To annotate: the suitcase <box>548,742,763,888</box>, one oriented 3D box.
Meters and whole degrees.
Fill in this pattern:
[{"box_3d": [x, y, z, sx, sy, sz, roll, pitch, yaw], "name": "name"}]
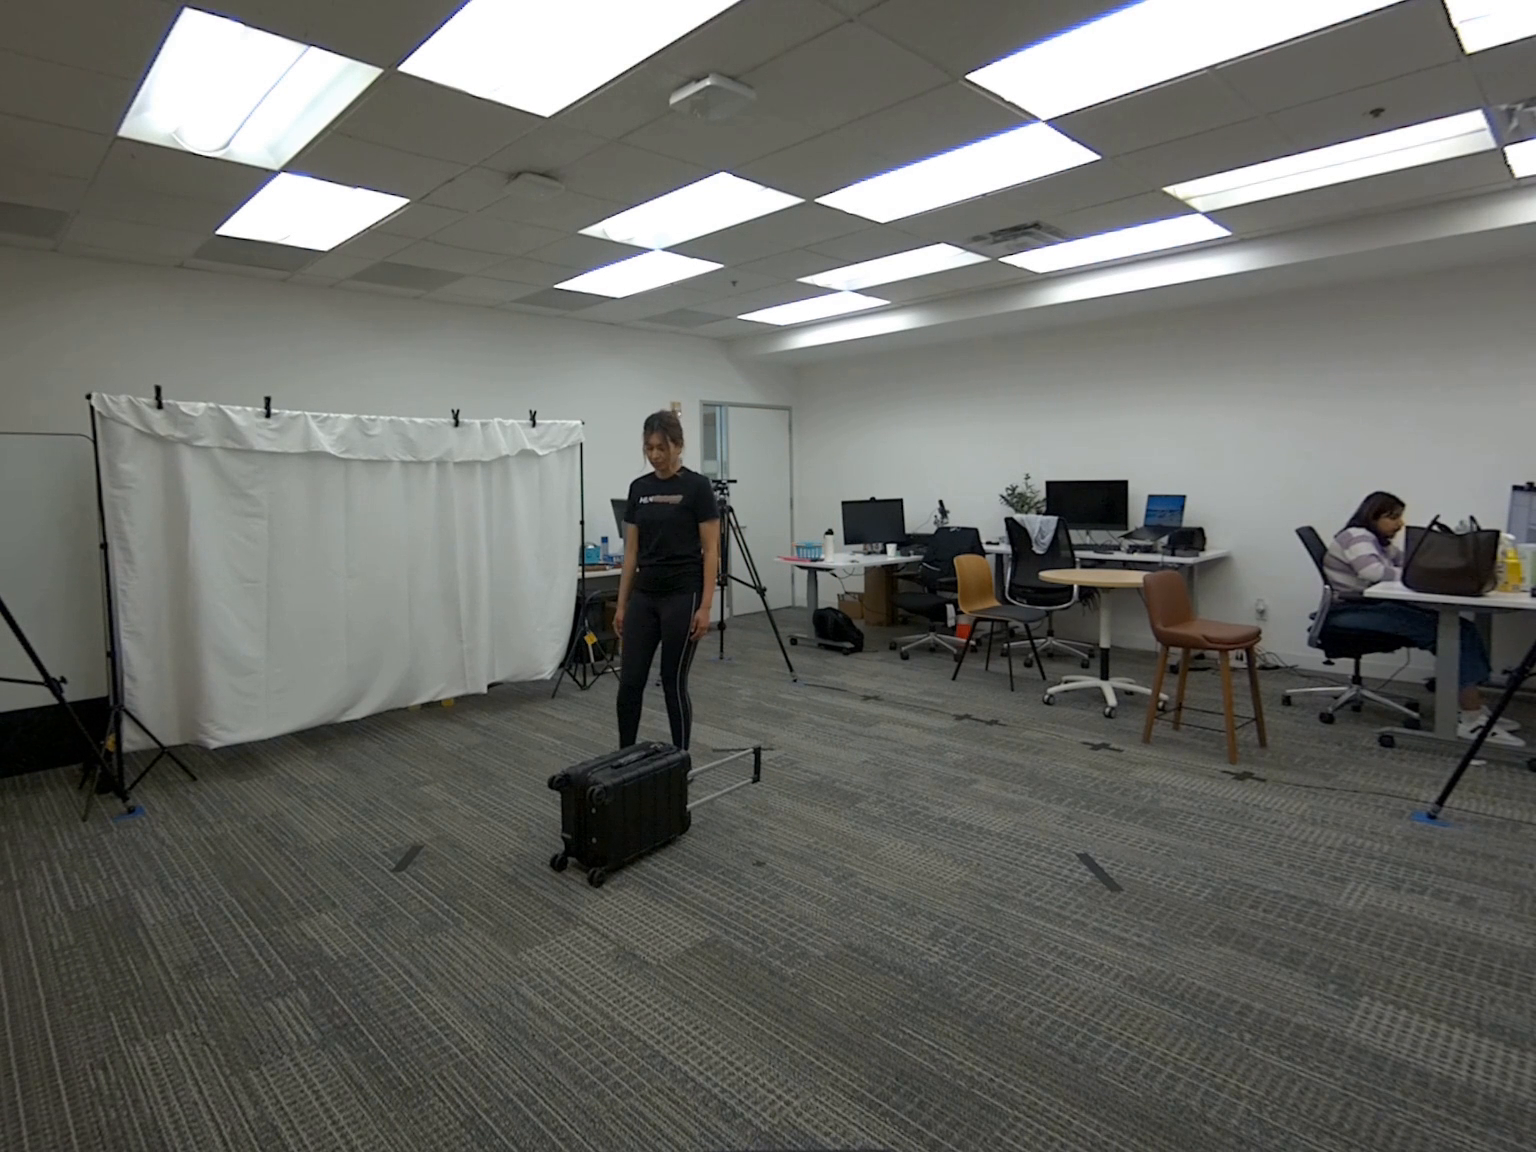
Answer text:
[{"box_3d": [-0.411, 0.836, 3.379, 0.264, 0.382, 0.955, 3, 7, 35], "name": "suitcase"}]
